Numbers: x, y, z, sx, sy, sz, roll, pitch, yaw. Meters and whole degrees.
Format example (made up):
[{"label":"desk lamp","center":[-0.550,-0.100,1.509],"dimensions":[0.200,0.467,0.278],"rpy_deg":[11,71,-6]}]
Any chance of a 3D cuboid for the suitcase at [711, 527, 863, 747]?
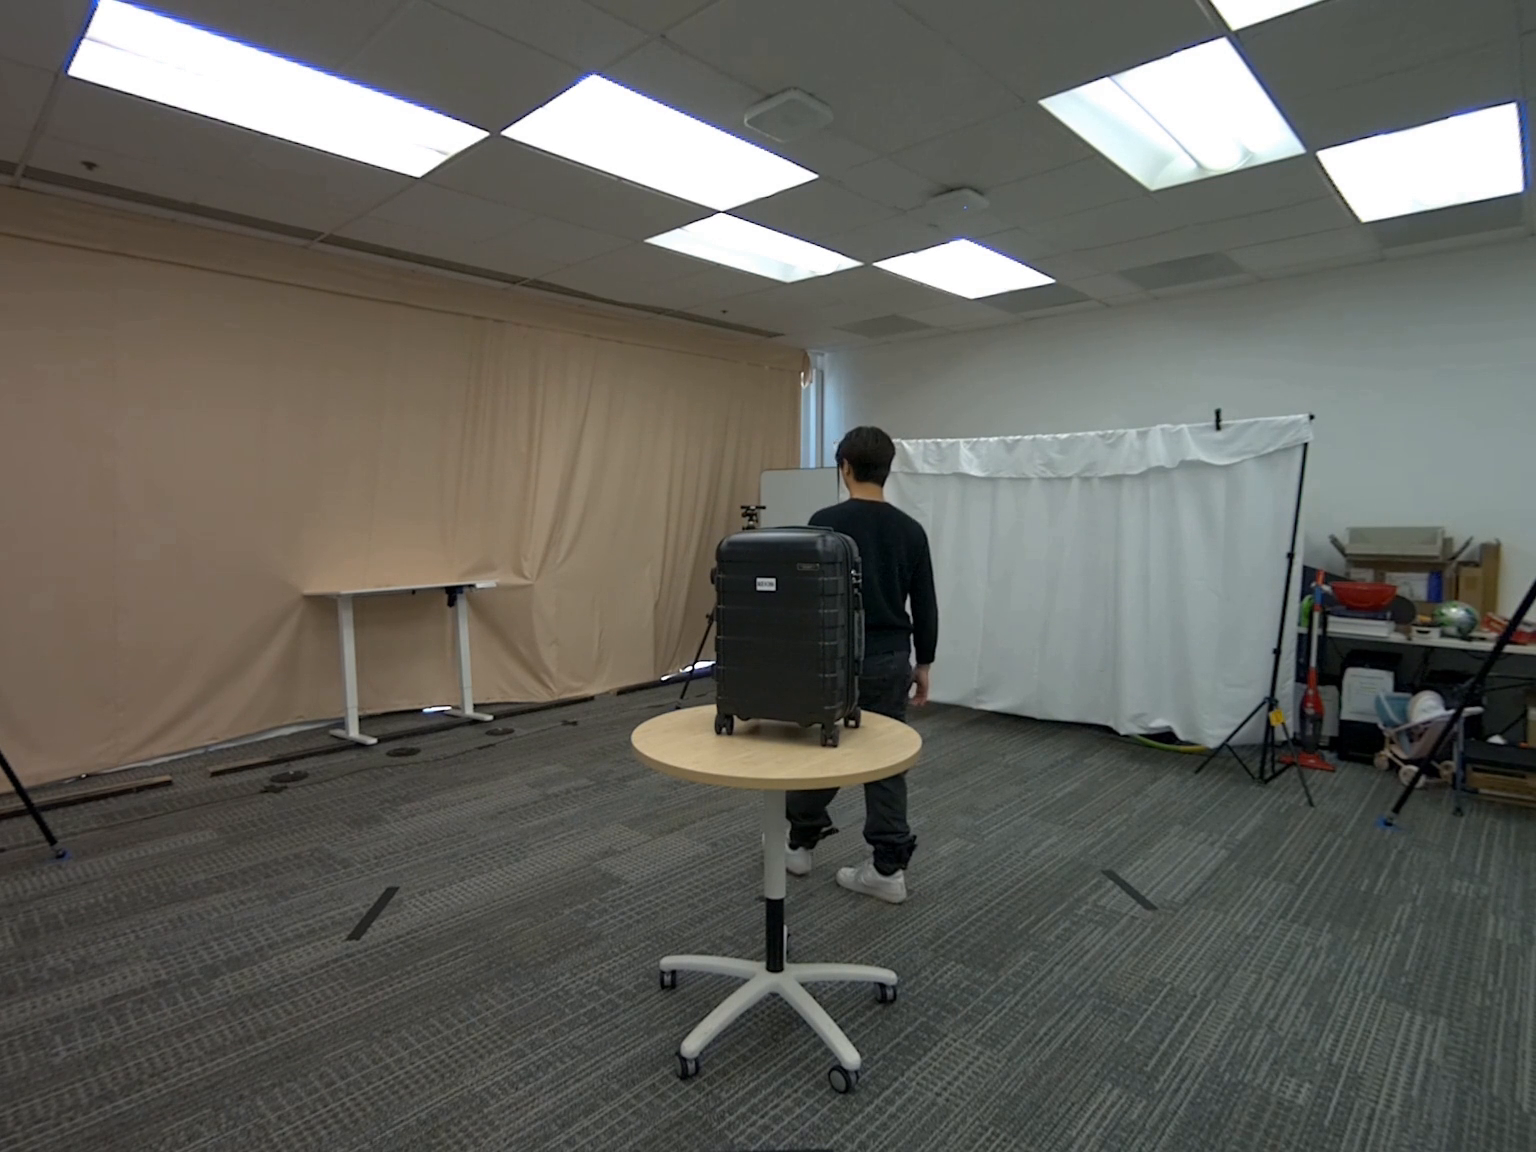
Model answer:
[{"label":"suitcase","center":[0.057,0.146,2.251],"dimensions":[0.385,0.548,0.243],"rpy_deg":[2,4,24]}]
